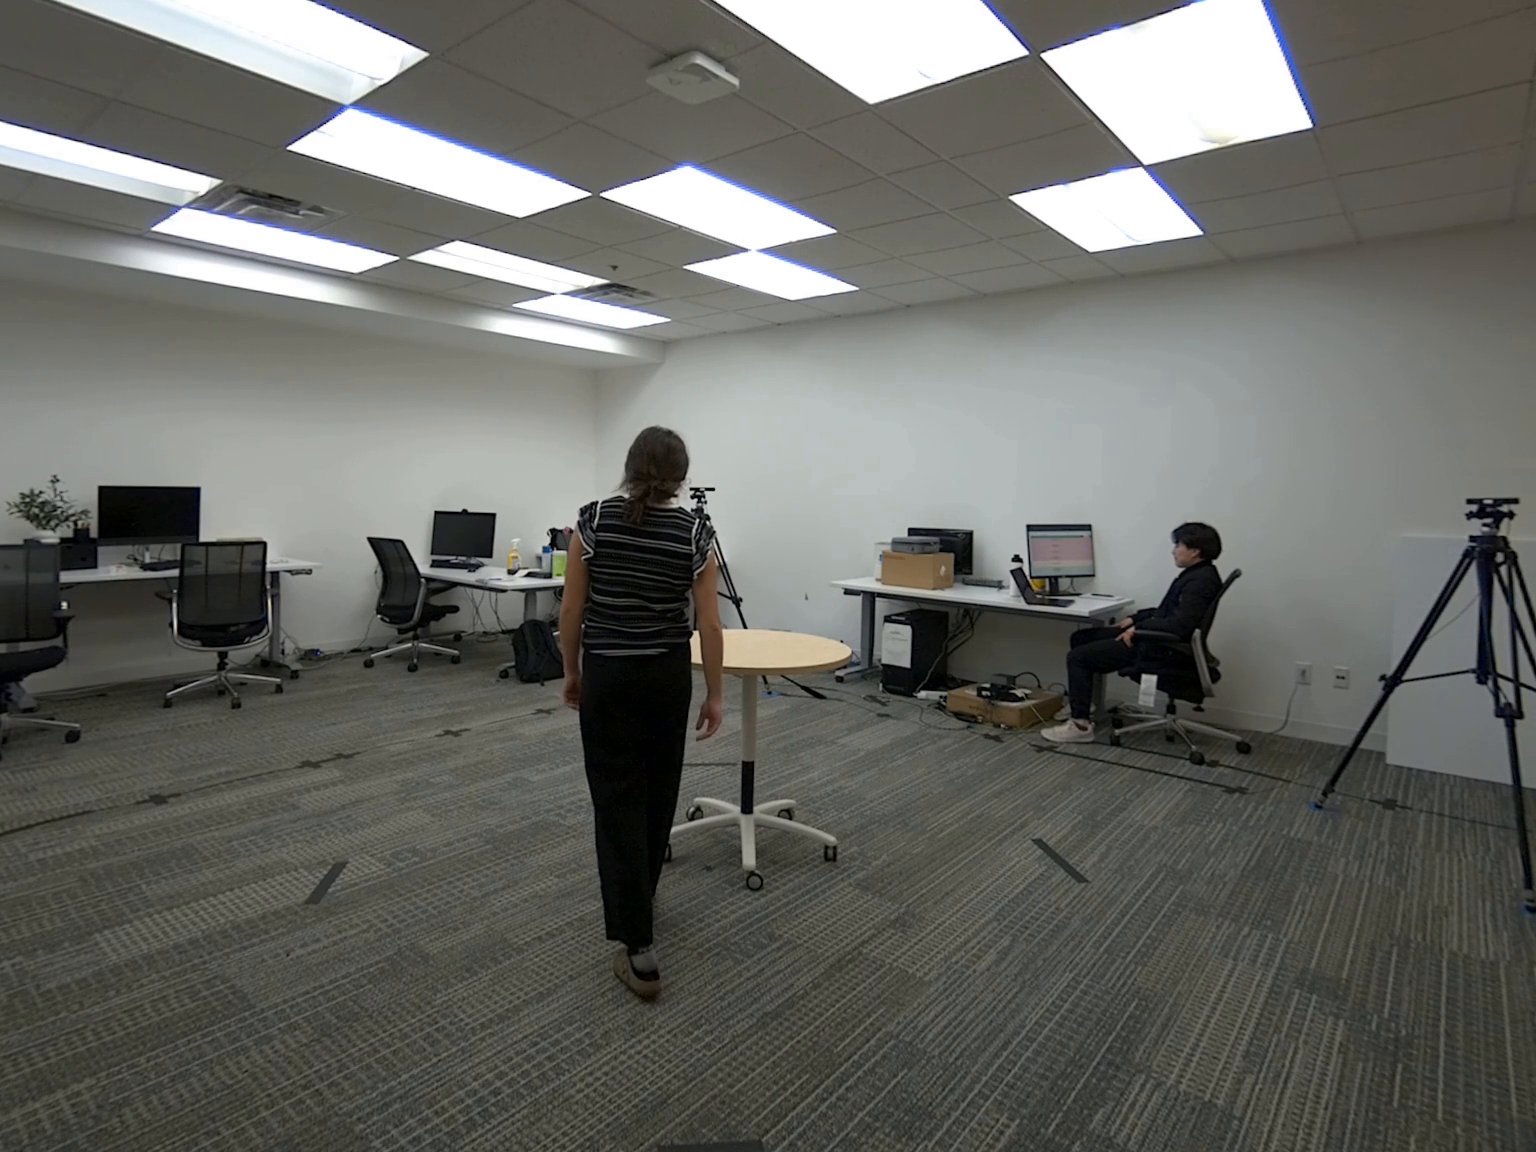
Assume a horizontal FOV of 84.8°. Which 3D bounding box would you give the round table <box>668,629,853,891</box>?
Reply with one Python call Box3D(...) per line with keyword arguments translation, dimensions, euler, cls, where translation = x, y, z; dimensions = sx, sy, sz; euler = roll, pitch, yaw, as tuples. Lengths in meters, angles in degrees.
Box3D(translation=(-0.095, 0.657, 3.277), dimensions=(0.784, 0.784, 0.789), euler=(2, 4, -2), cls="round table")
